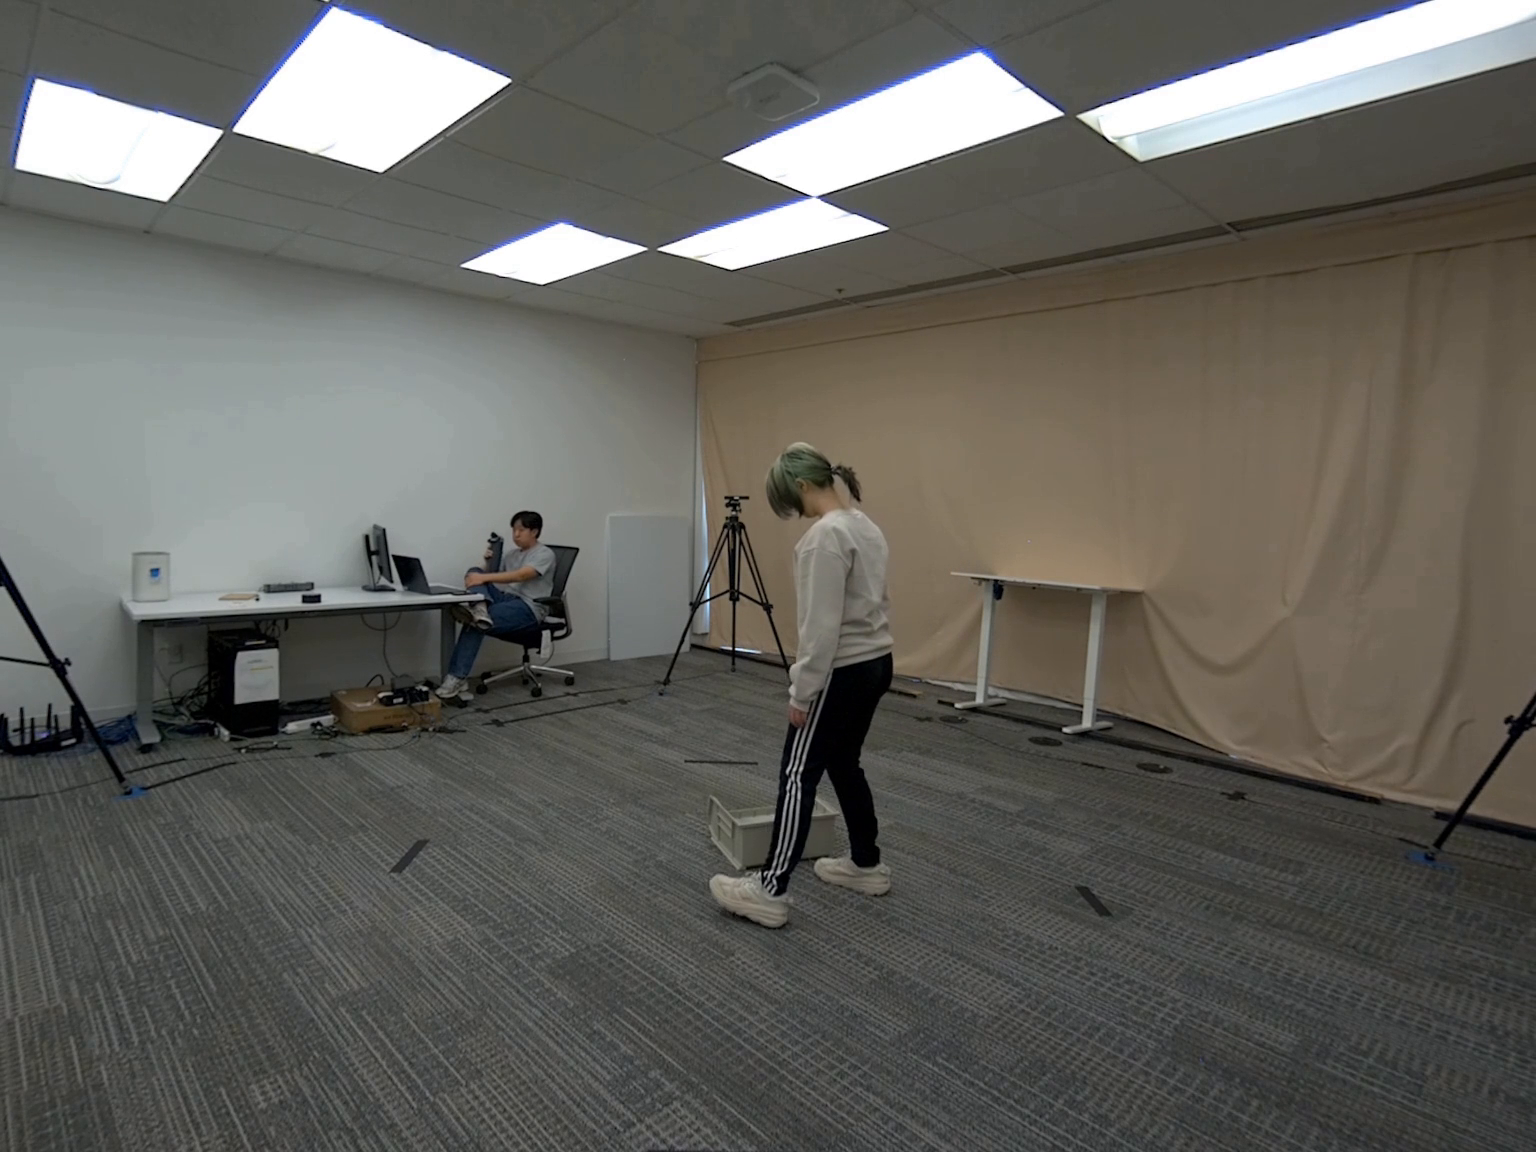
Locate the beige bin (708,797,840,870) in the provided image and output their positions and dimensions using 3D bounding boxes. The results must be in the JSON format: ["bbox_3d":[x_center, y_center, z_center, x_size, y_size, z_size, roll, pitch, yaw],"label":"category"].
[{"bbox_3d":[0.004,0.996,3.374,0.416,0.188,0.384,0,5,-21],"label":"beige bin"}]
